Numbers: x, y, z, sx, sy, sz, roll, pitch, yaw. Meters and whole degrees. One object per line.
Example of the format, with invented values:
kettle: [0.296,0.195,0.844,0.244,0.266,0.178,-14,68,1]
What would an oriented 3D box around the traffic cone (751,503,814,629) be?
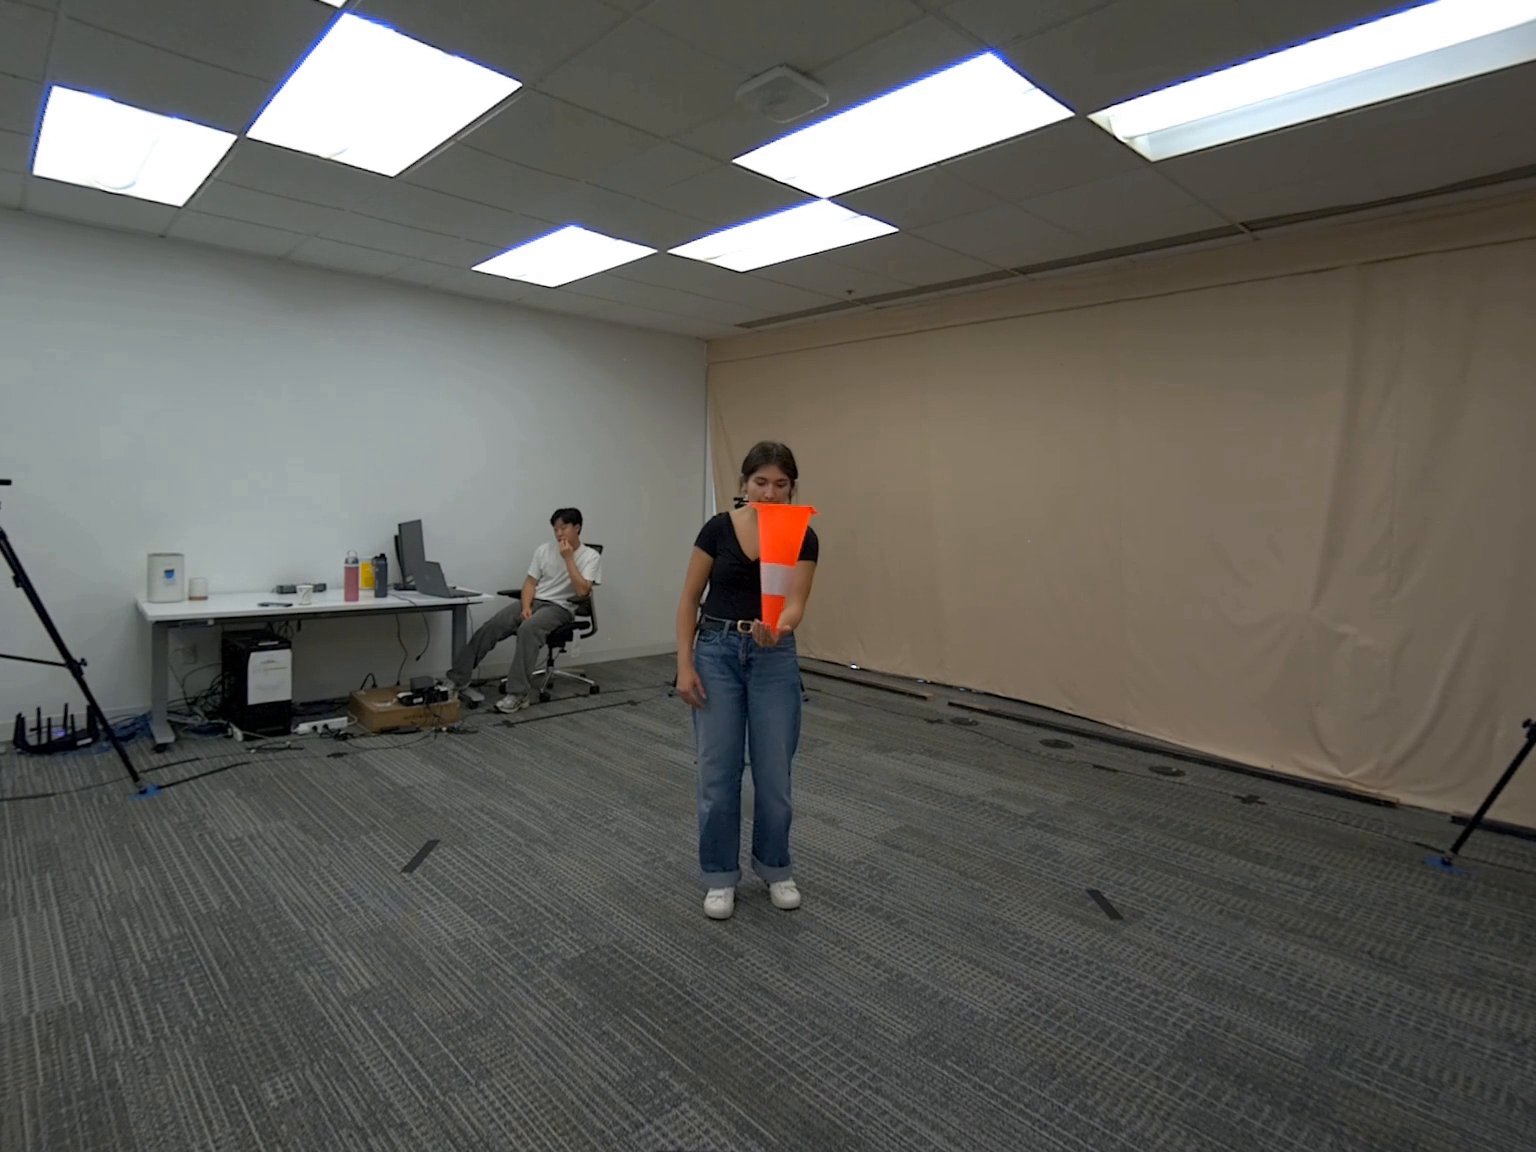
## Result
traffic cone: [0.003,0.001,2.456,0.205,0.385,0.203,4,-6,7]
